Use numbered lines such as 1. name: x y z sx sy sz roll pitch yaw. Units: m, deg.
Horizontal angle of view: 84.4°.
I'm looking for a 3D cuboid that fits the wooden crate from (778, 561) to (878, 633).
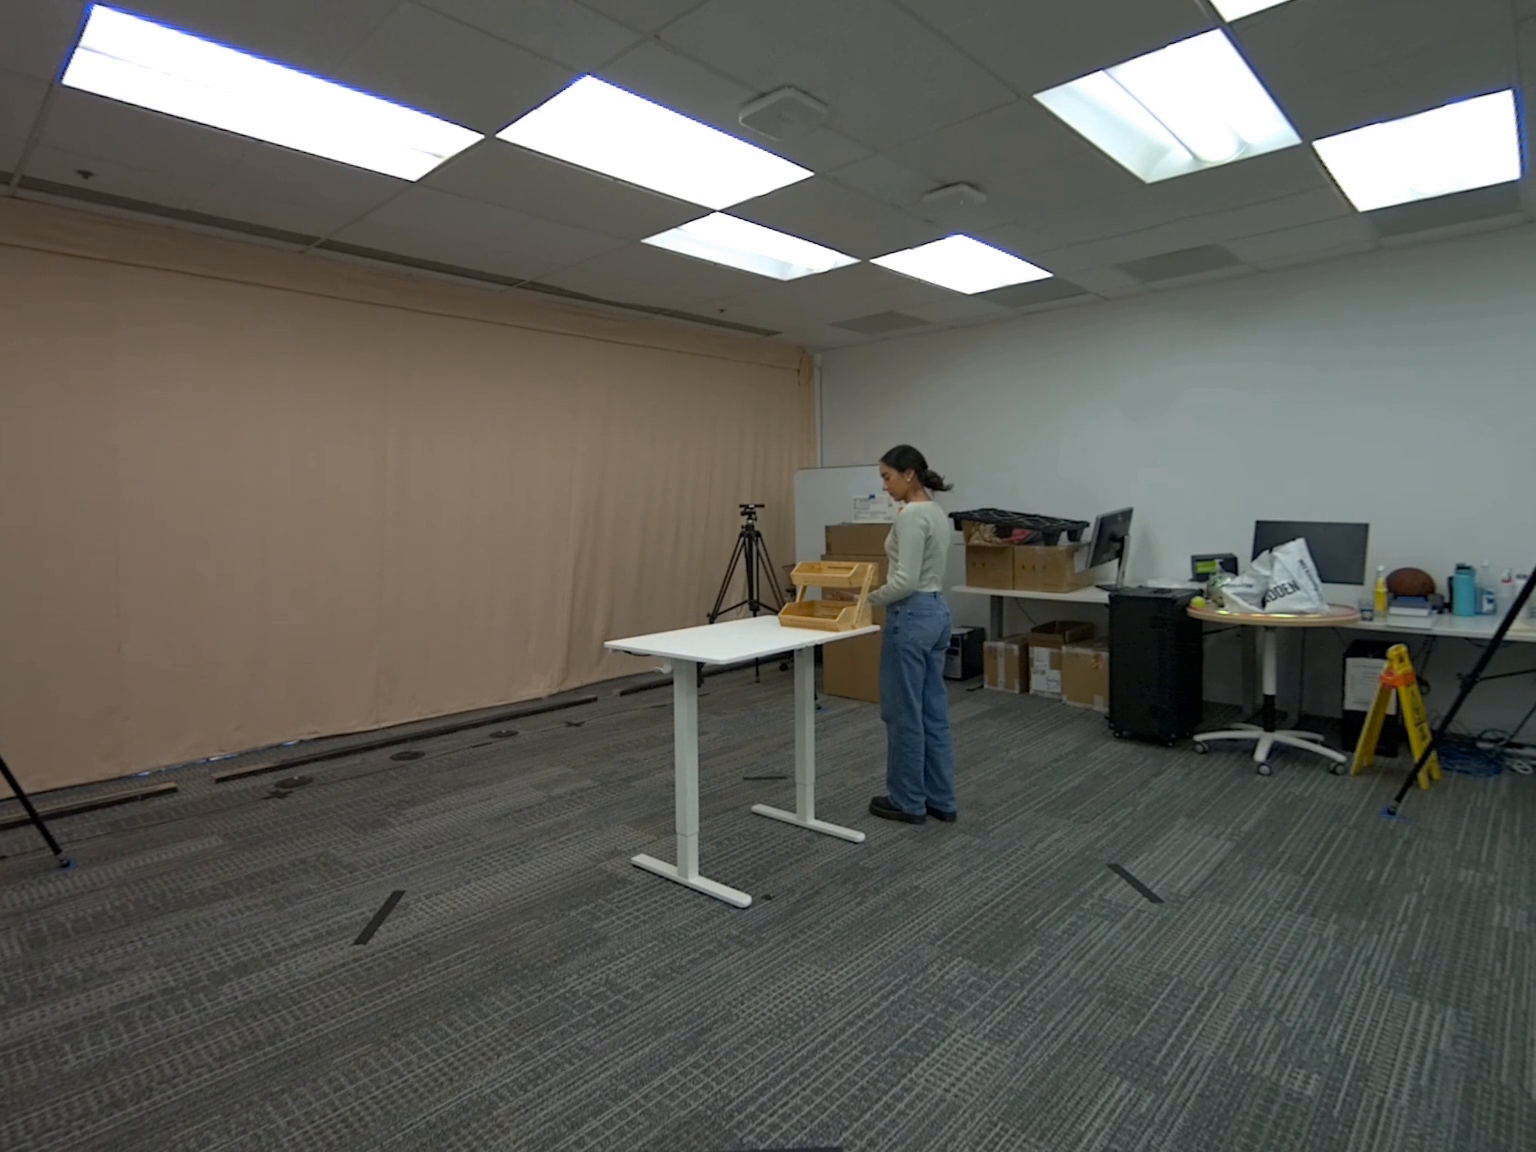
1. wooden crate: 0.252 0.076 3.527 0.335 0.273 0.293 2 3 41
